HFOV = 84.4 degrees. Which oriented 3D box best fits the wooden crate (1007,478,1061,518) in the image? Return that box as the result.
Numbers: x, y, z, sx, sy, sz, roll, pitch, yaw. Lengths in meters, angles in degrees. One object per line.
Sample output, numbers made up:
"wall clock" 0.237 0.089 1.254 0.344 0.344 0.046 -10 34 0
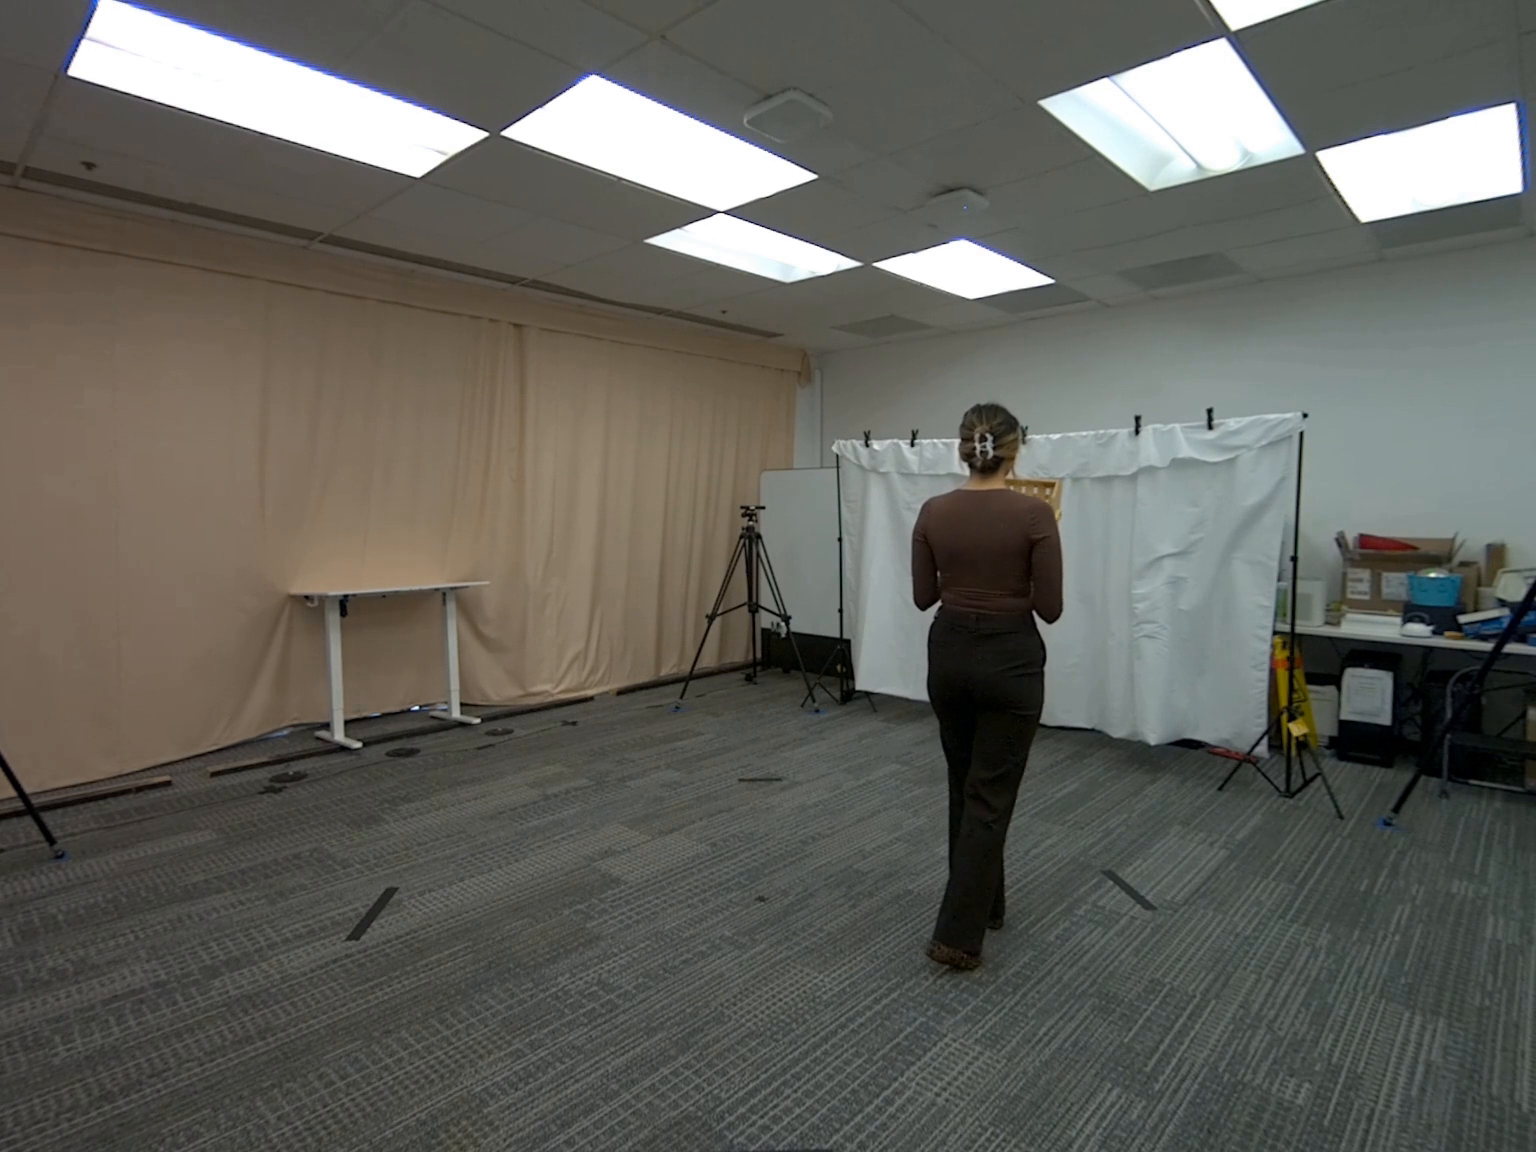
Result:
"wooden crate" 0.857 -0.207 2.996 0.335 0.301 0.265 8 6 32
